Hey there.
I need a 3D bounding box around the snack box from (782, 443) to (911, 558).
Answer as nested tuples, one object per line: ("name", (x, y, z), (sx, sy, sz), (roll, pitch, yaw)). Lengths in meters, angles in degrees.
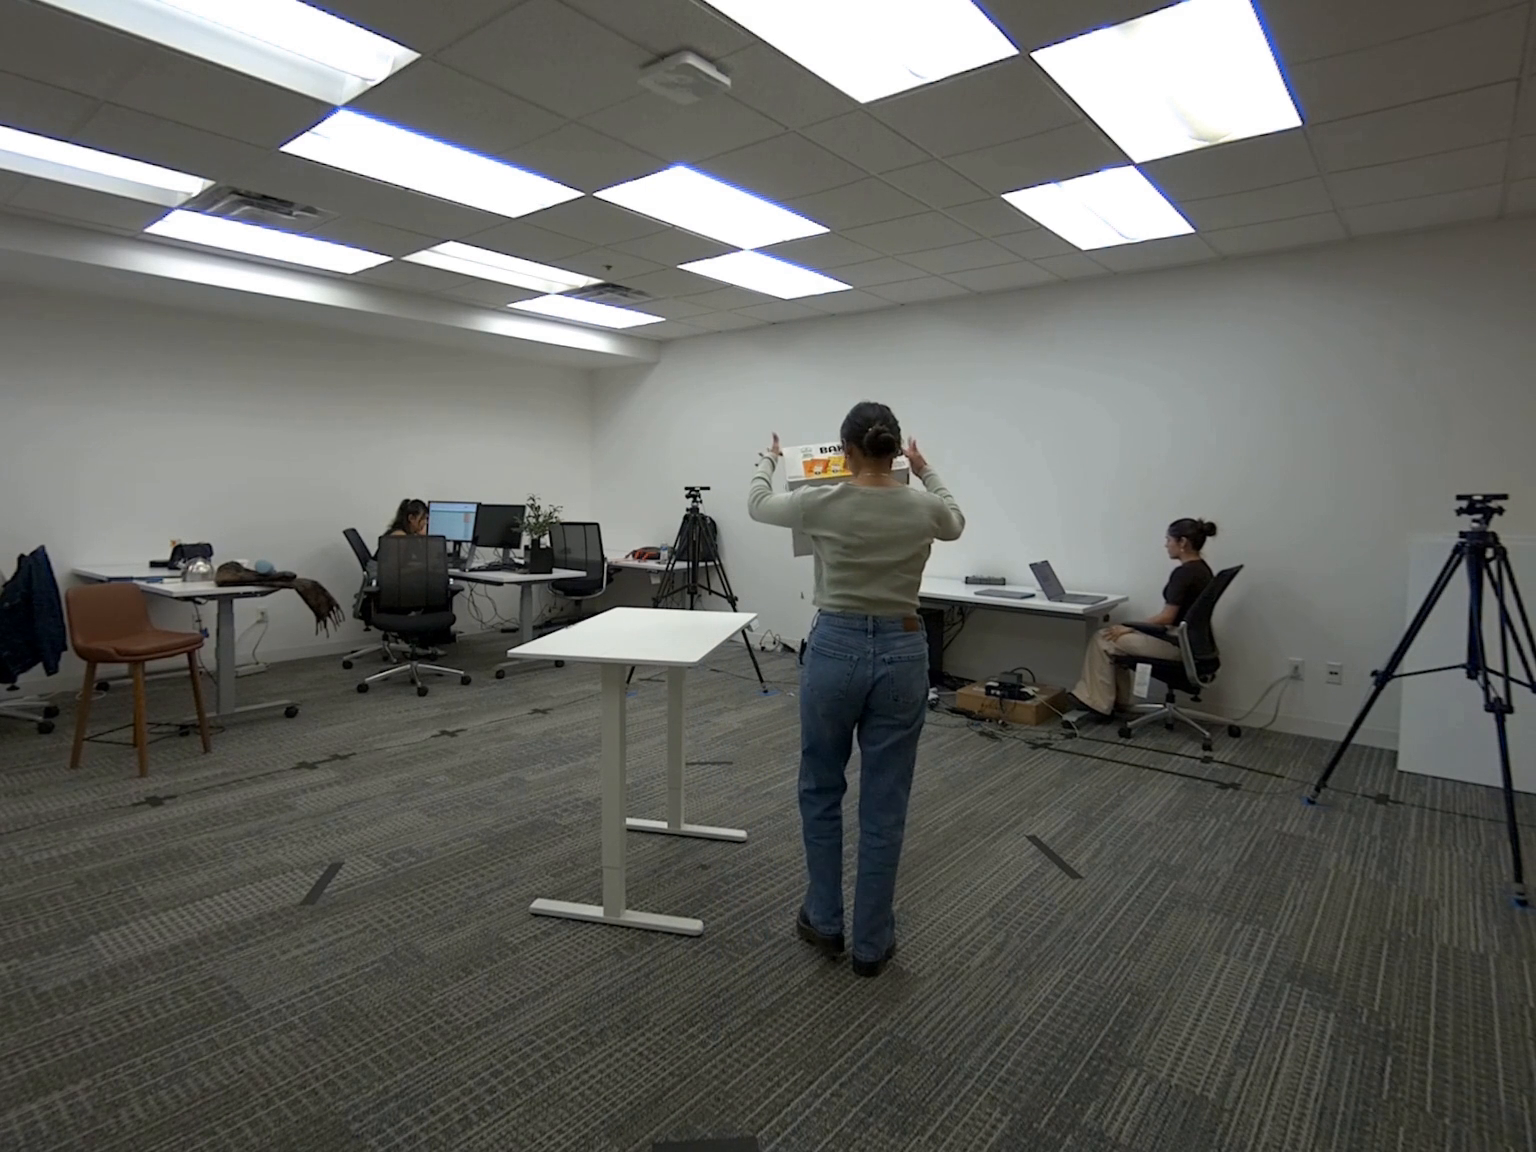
("snack box", (0.263, -0.276, 2.975), (0.407, 0.329, 0.211), (-6, 39, 4))
